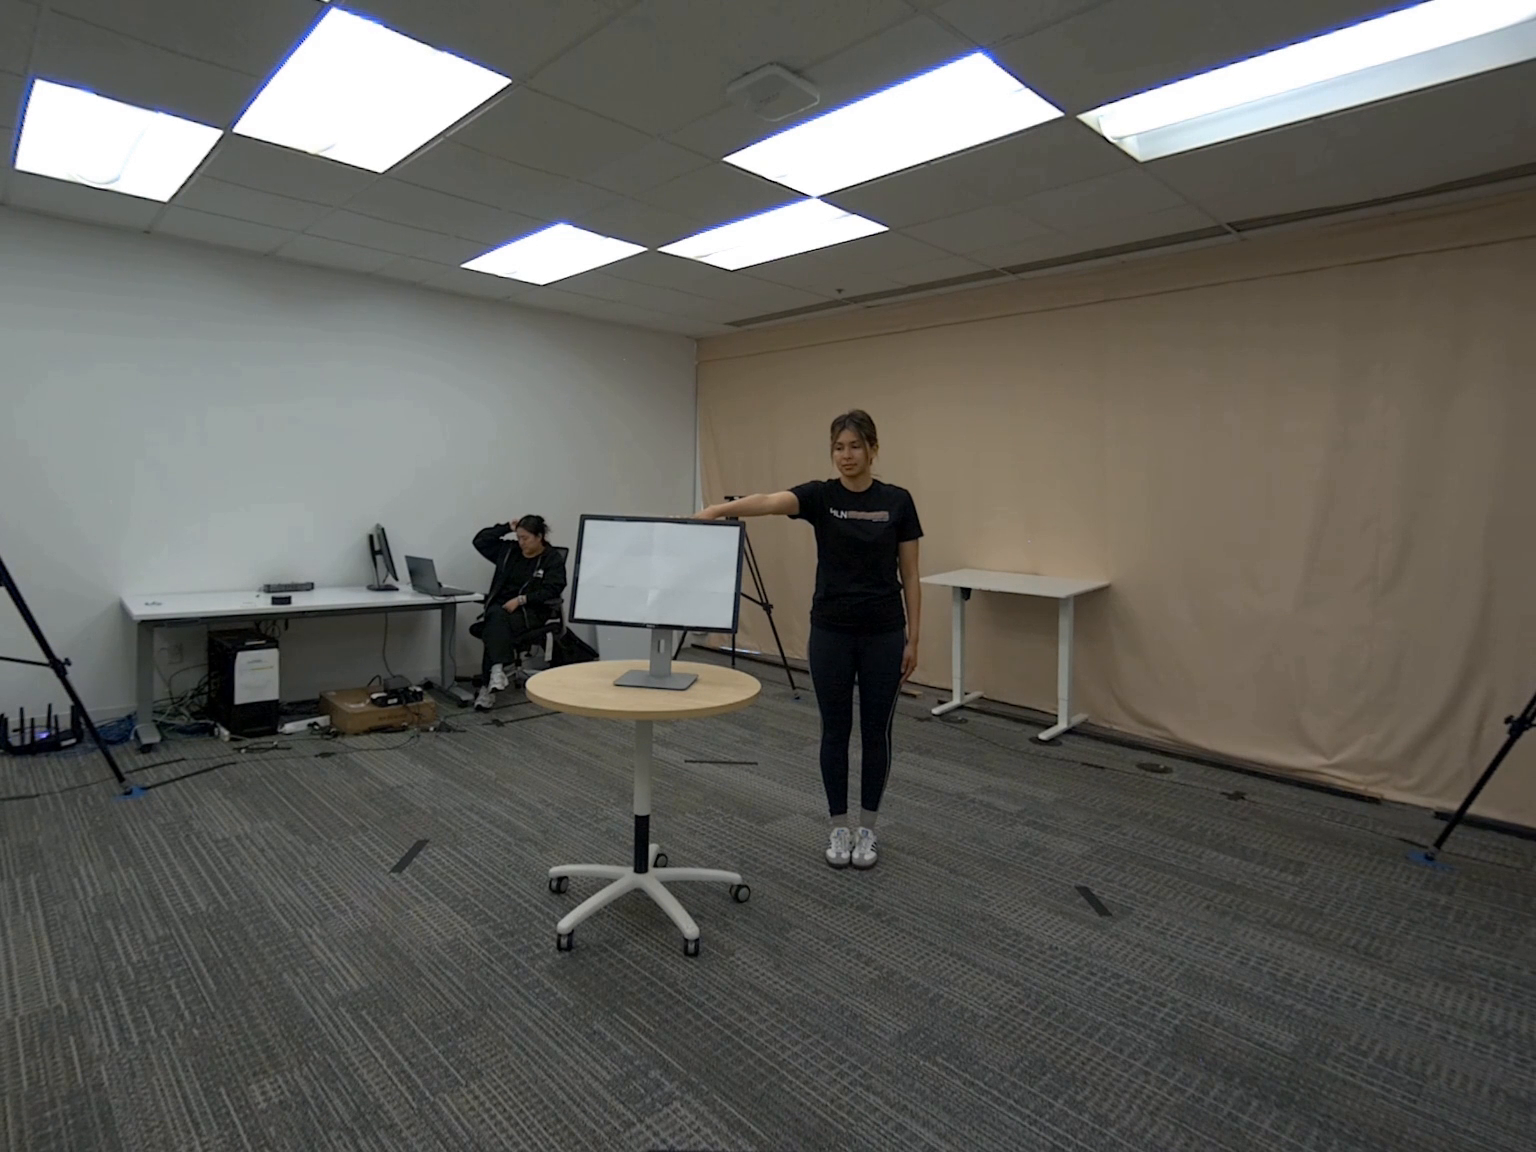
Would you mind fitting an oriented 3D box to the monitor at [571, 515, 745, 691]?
[{"bbox_3d":[-0.360,0.088,2.769,0.543,0.521,0.186,3,3,9],"label":"monitor"}]
